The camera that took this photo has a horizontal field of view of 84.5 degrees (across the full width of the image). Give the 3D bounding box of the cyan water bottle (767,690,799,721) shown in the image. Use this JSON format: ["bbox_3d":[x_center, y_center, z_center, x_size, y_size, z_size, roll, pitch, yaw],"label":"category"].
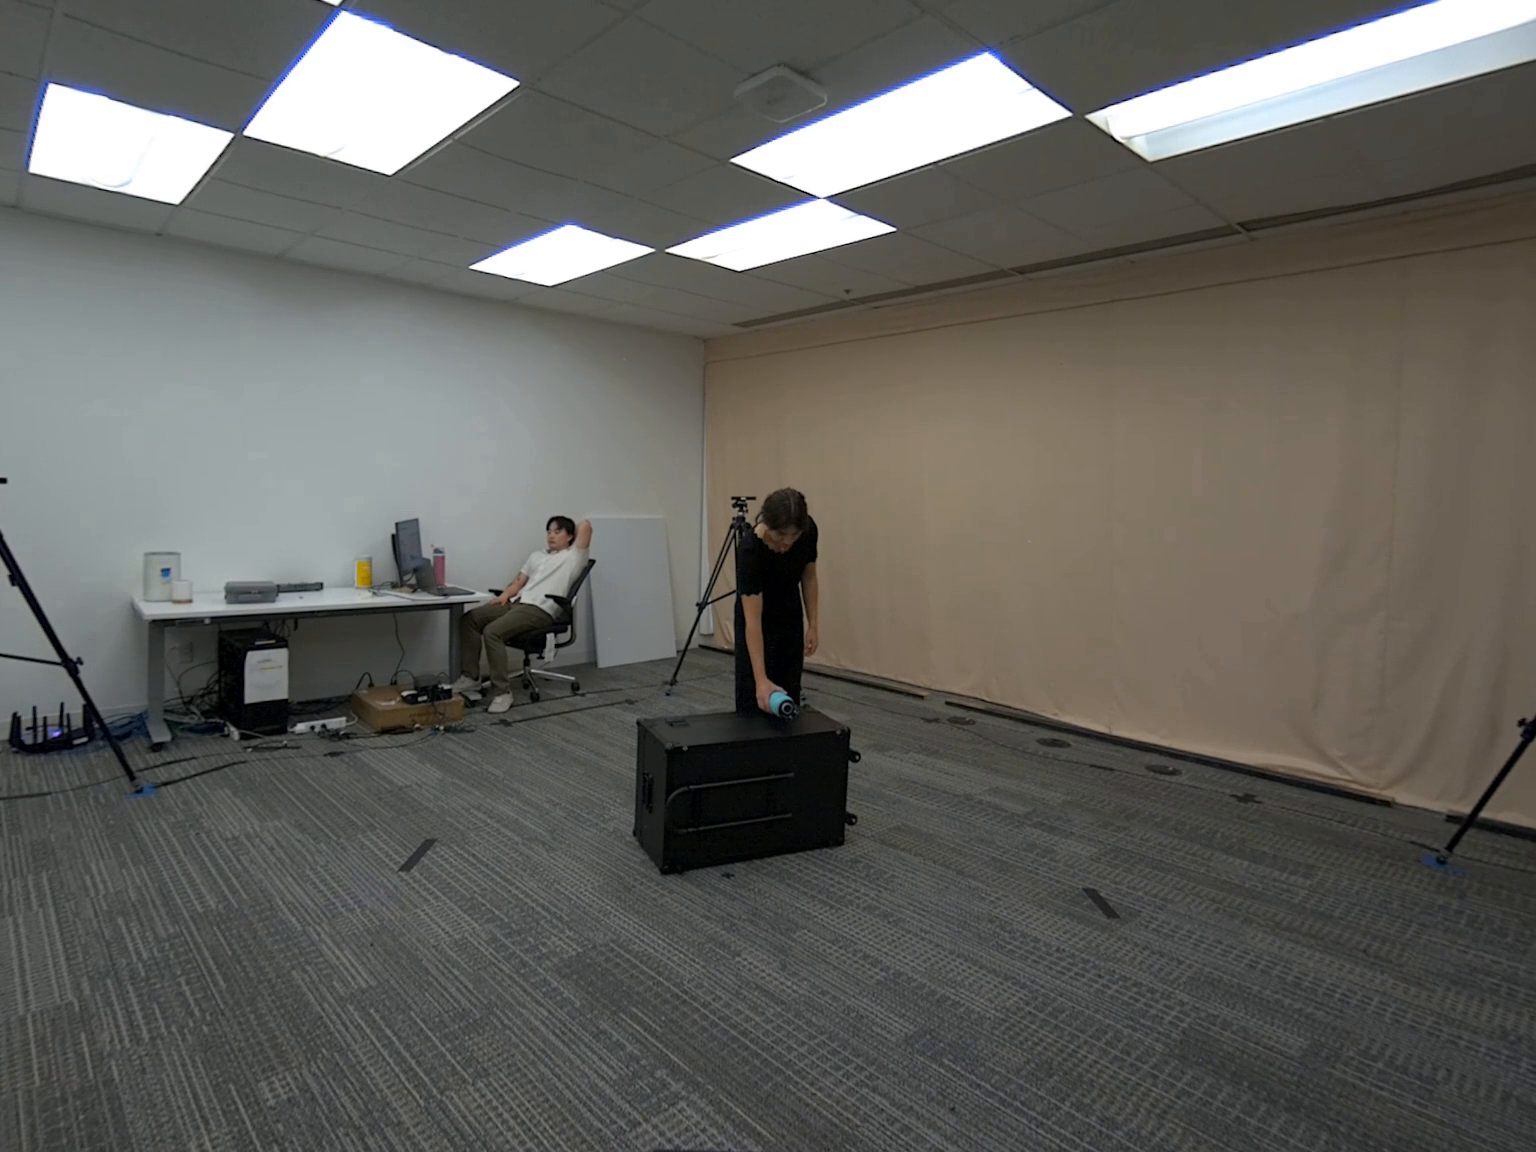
[{"bbox_3d":[0.028,0.516,3.435,0.091,0.092,0.288,0,5,-17],"label":"cyan water bottle"}]
